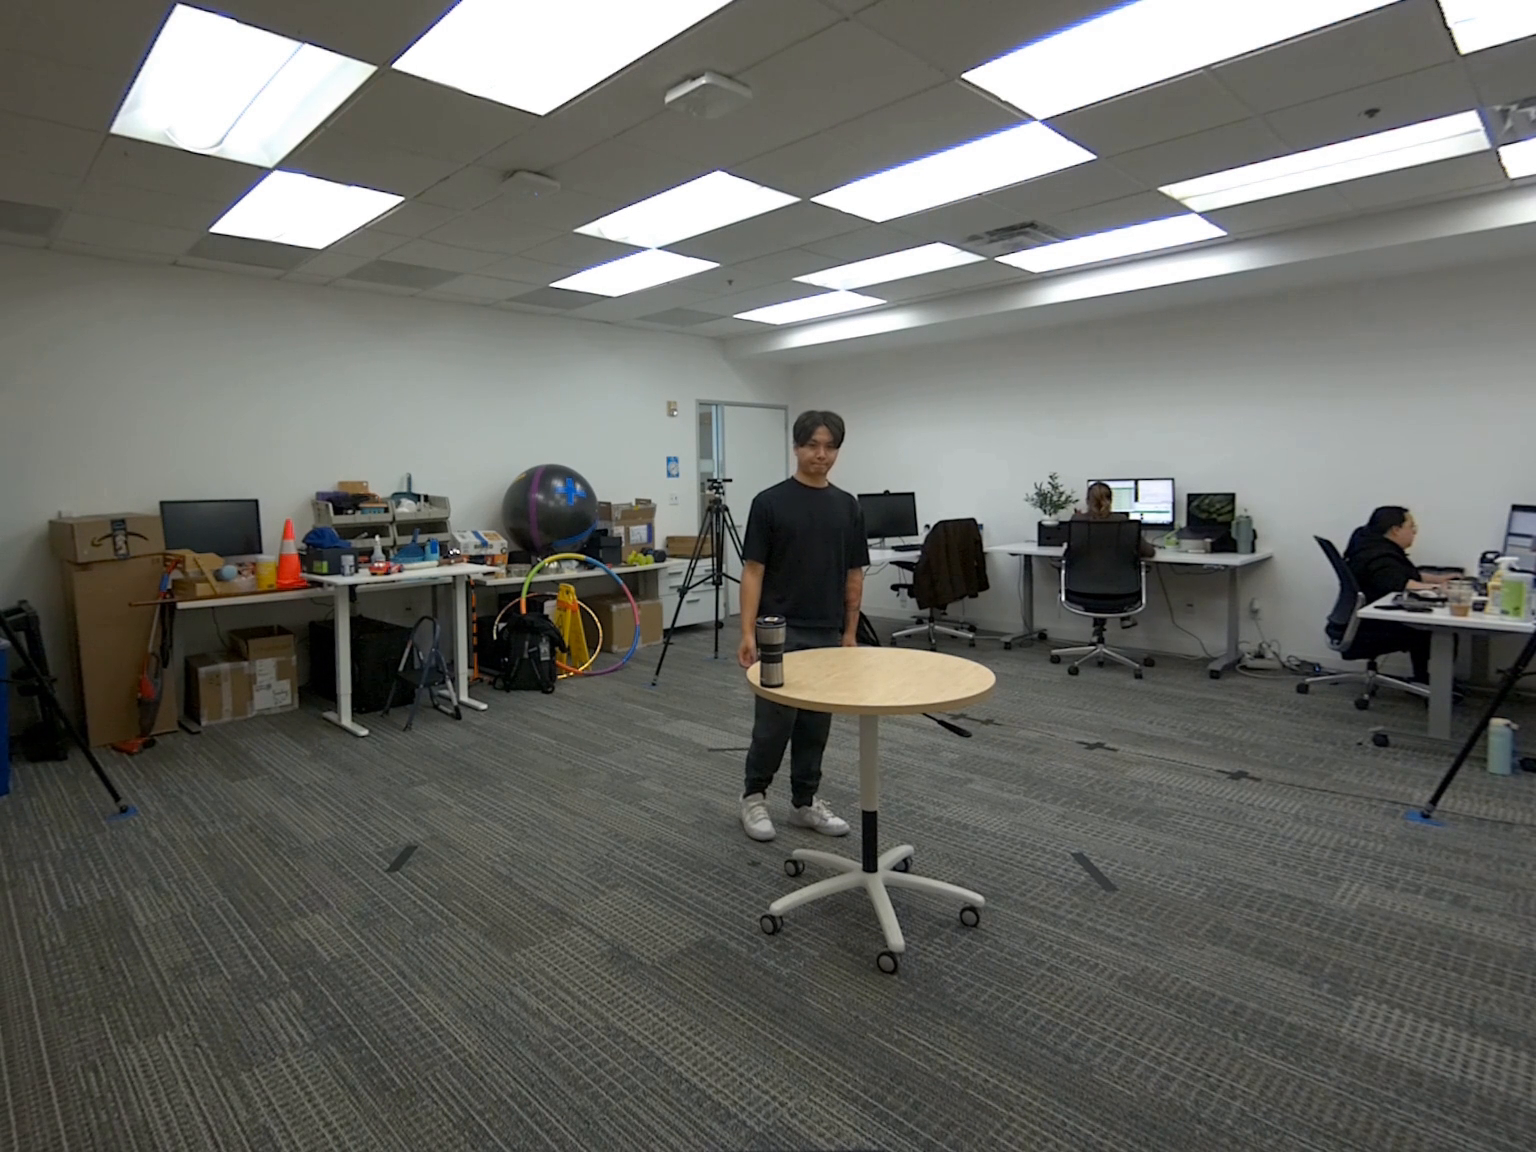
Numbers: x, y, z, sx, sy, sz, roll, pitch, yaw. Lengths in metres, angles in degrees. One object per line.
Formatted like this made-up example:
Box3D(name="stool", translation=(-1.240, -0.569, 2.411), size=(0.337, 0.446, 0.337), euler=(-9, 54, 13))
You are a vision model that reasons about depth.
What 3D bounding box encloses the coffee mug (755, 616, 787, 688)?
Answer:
Box3D(name="coffee mug", translation=(0.024, 0.228, 2.557), size=(0.090, 0.202, 0.119), euler=(-3, 5, 42))
